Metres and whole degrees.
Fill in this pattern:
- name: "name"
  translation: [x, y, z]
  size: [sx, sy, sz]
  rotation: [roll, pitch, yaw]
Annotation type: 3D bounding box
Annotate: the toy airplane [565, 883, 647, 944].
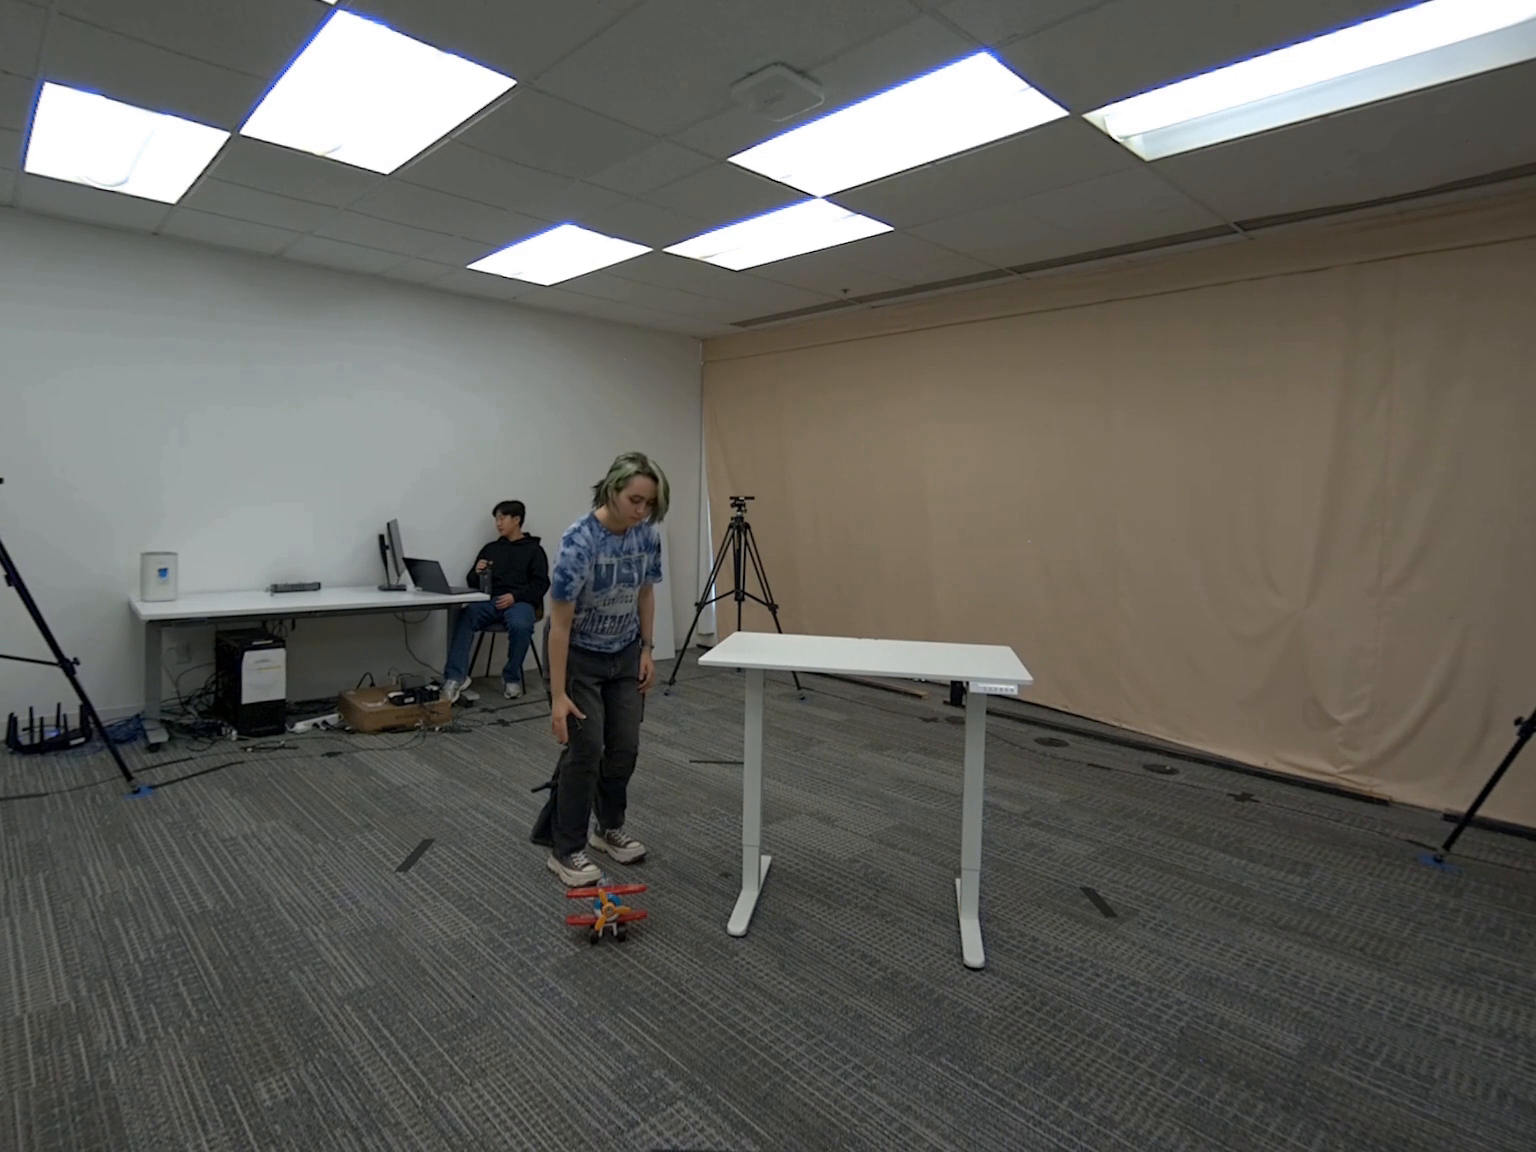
- name: "toy airplane"
  translation: [-0.549, 1.066, 2.692]
  size: [0.245, 0.156, 0.266]
  rotation: [-4, 7, -41]
